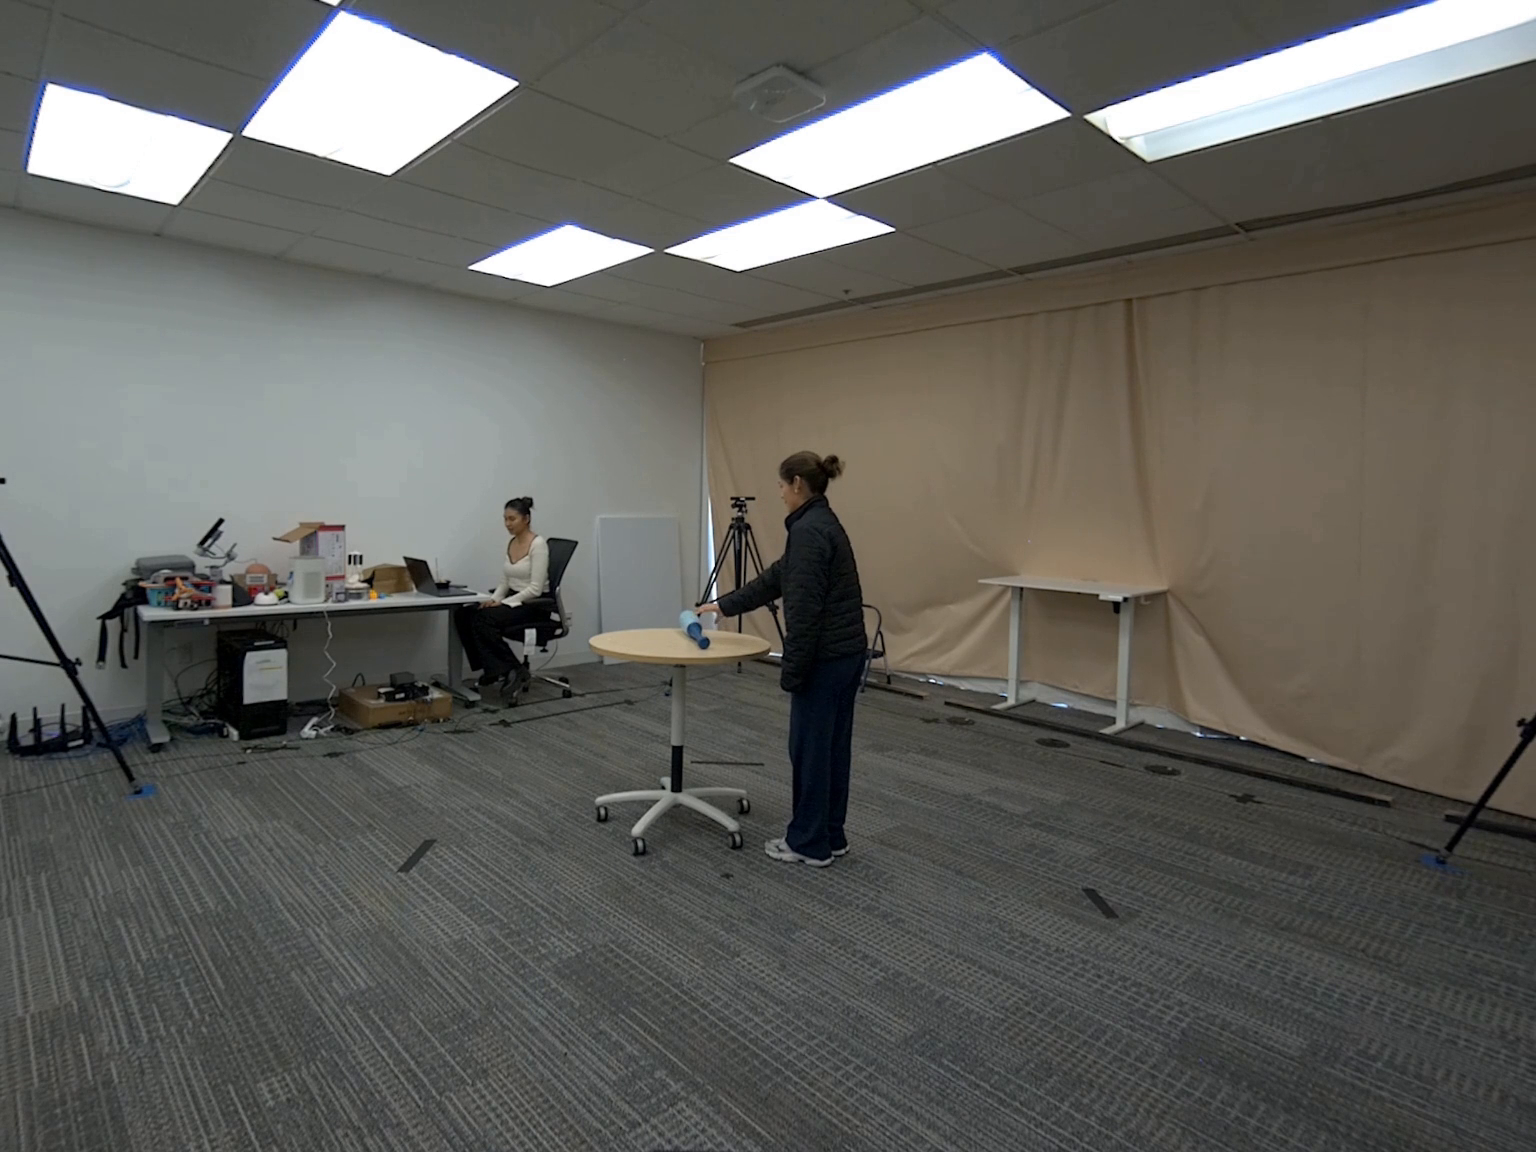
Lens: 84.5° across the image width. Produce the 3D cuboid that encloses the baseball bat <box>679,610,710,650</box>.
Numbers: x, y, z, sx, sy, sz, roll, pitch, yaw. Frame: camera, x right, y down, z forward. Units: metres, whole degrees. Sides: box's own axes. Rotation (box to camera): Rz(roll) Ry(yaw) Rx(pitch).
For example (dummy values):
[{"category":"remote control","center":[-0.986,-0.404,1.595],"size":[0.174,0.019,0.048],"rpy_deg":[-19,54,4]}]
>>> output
[{"category":"baseball bat","center":[-0.341,0.242,3.641],"size":[0.088,0.088,0.550],"rpy_deg":[0,8,-11]}]
